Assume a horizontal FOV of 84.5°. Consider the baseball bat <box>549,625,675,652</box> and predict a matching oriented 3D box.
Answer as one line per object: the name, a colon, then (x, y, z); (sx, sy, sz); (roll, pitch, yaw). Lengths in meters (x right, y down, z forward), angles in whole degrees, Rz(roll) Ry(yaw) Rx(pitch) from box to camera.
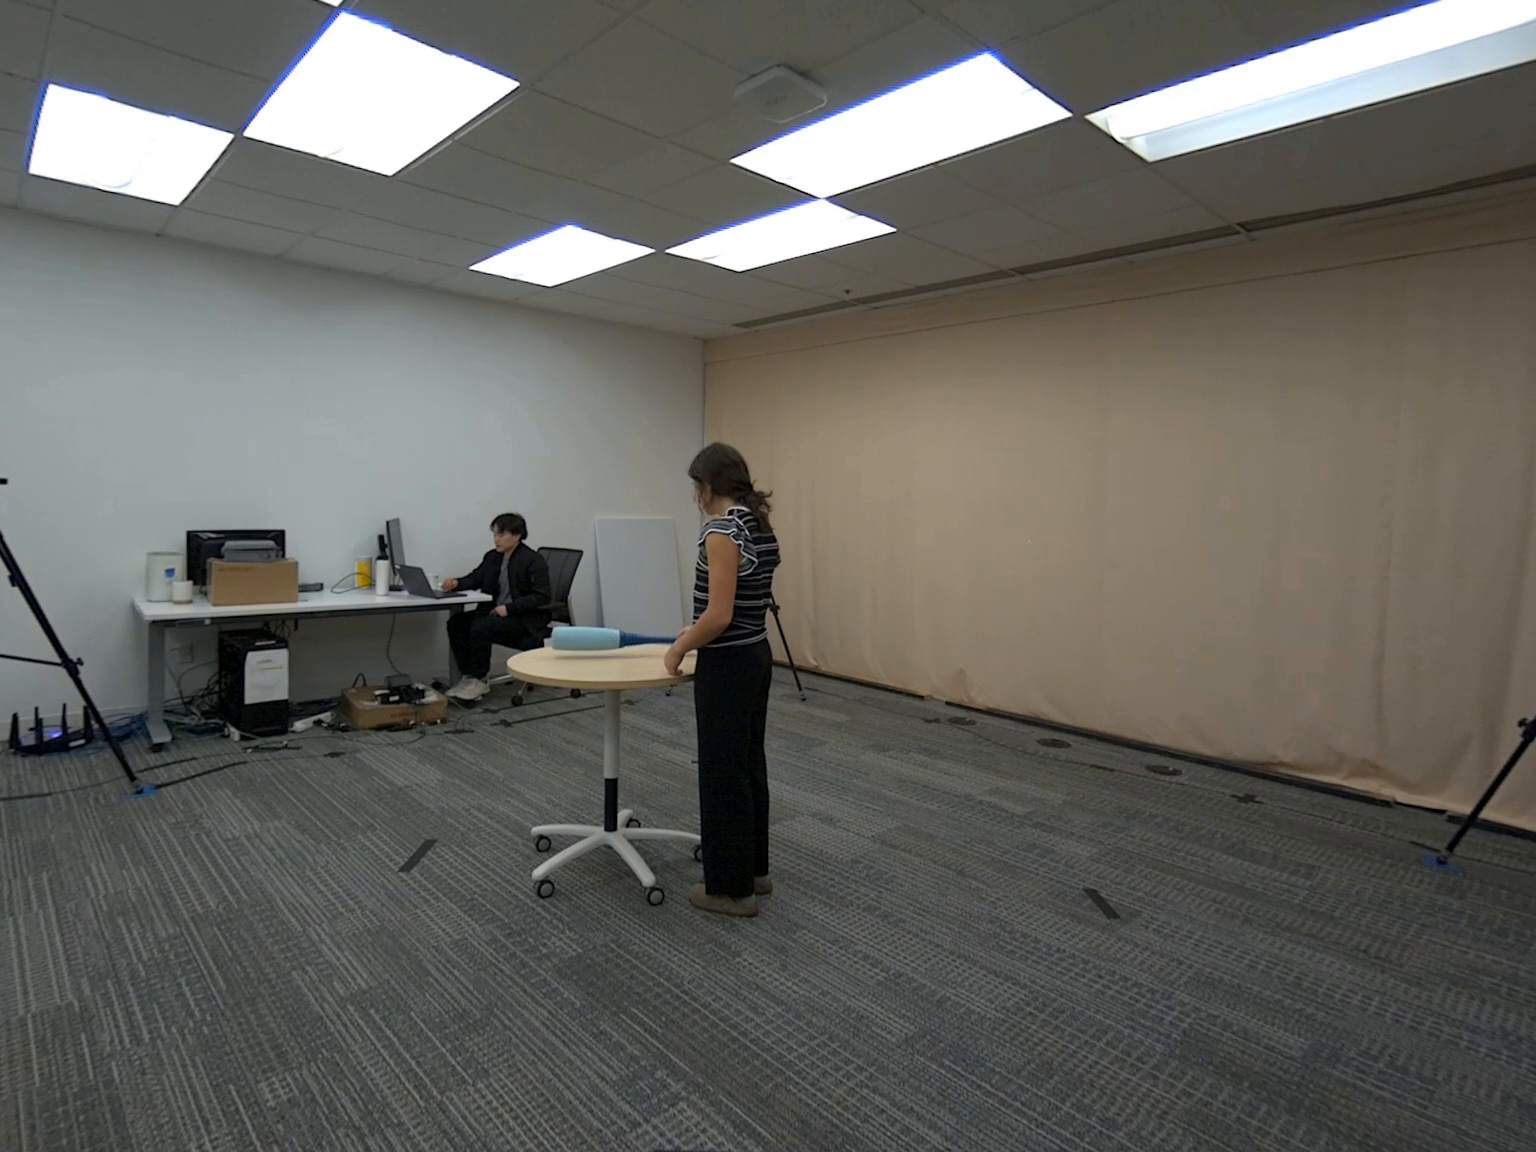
baseball bat: (-0.552, 0.235, 3.186); (0.537, 0.089, 0.090); (3, 4, -12)
